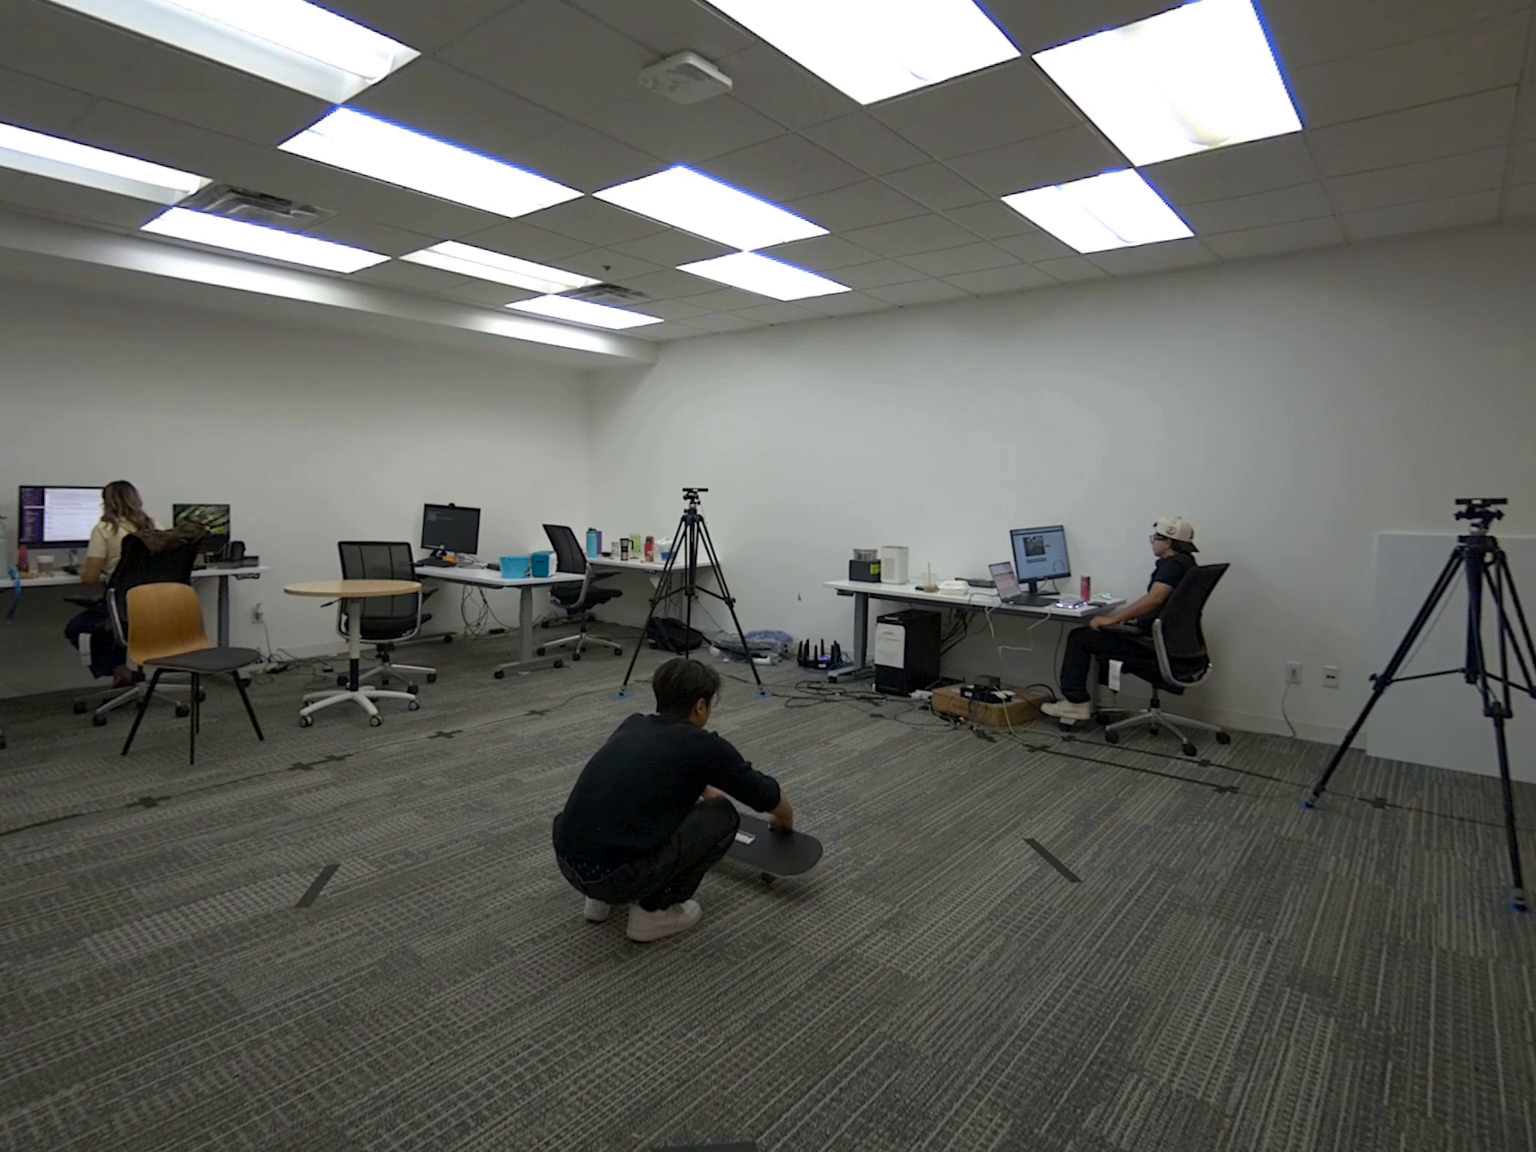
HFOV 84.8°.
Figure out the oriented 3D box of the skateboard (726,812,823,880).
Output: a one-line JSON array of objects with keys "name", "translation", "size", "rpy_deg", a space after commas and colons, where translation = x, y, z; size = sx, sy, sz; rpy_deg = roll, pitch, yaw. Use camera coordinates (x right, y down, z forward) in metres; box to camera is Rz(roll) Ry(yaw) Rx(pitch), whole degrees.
[{"name": "skateboard", "translation": [-0.135, 0.965, 3.159], "size": [0.812, 0.107, 0.193], "rpy_deg": [5, 37, 37]}]
